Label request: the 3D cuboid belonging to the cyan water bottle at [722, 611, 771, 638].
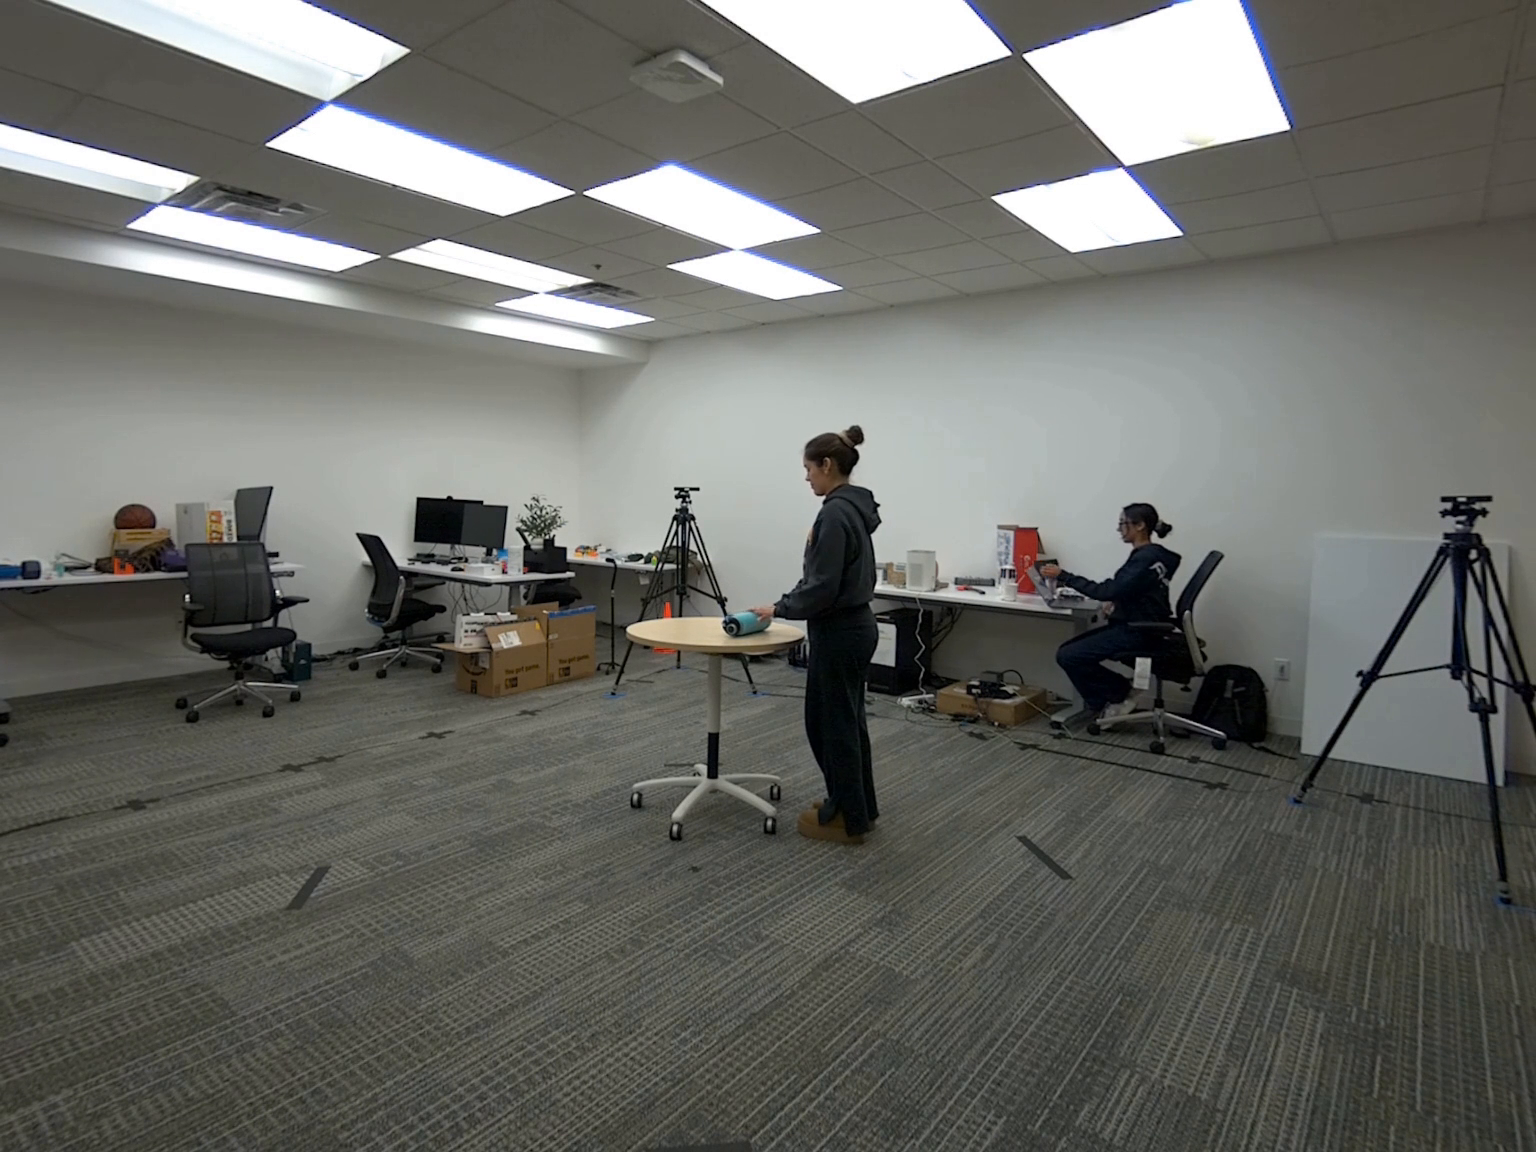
[{"bbox_3d":[-0.097,0.196,3.587,0.095,0.092,0.276,3,5,32],"label":"cyan water bottle"}]
